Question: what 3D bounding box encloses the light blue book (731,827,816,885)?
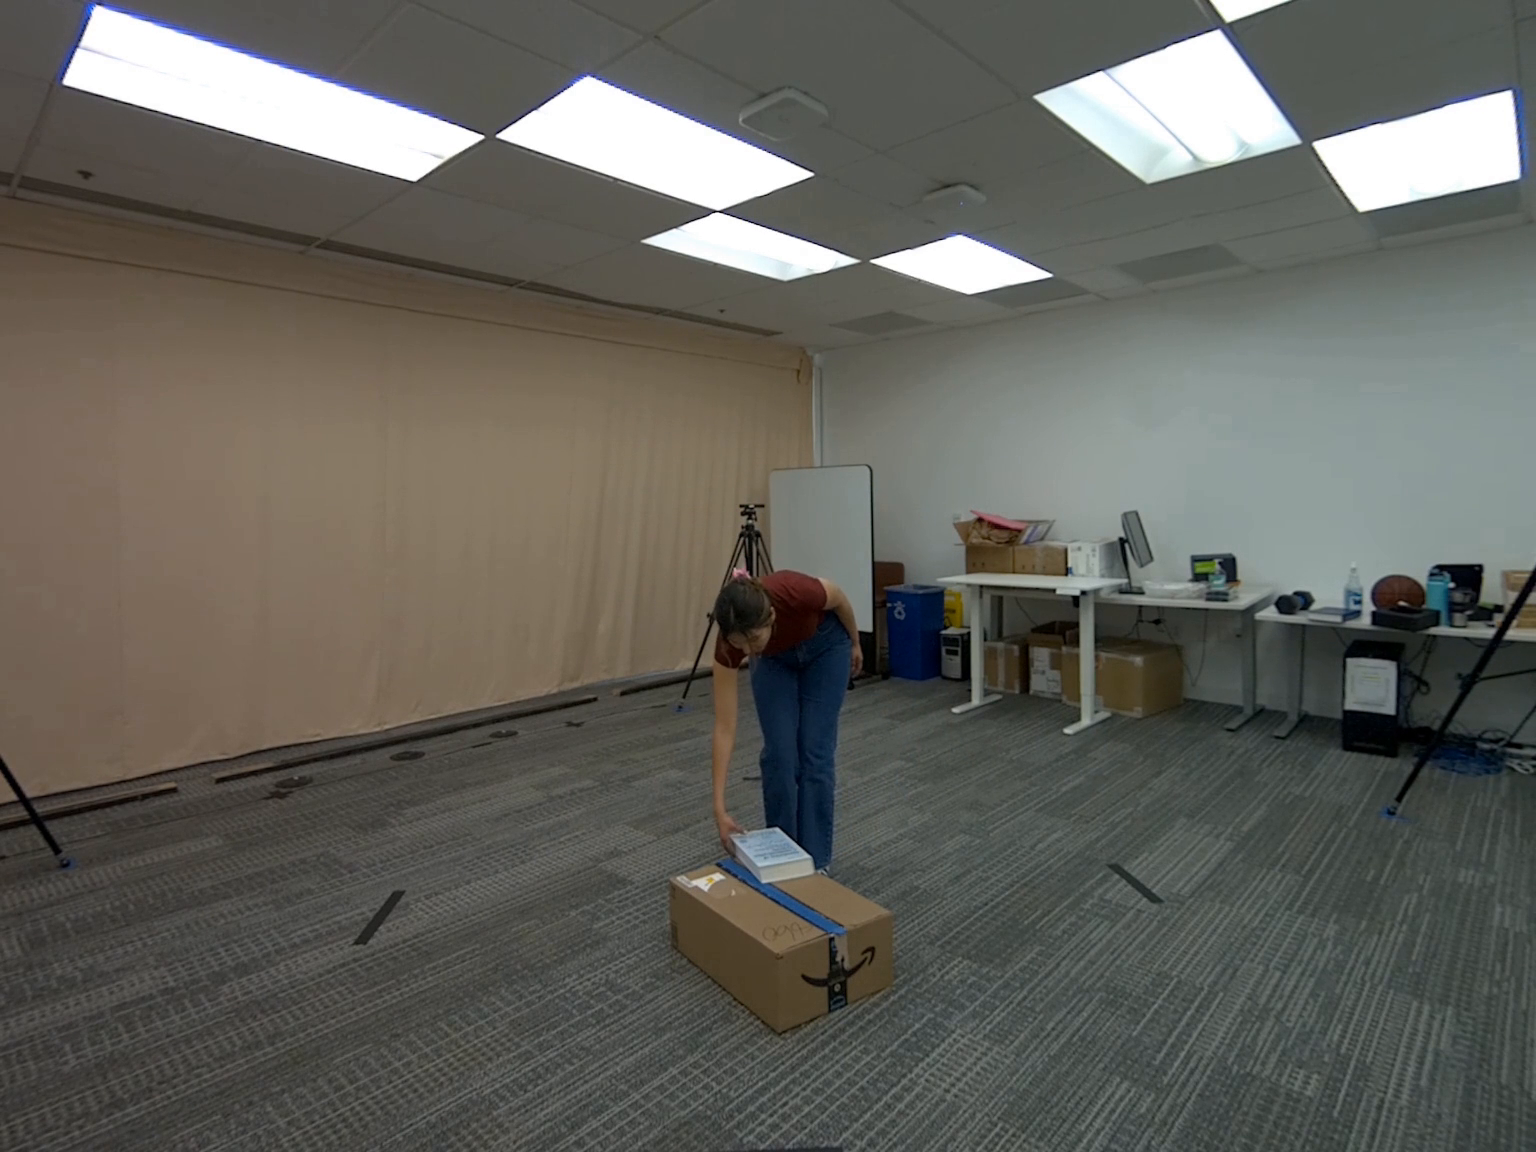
[{"bbox_3d":[0.008,0.905,2.764,0.187,0.059,0.267,-3,6,-24],"label":"light blue book"}]
